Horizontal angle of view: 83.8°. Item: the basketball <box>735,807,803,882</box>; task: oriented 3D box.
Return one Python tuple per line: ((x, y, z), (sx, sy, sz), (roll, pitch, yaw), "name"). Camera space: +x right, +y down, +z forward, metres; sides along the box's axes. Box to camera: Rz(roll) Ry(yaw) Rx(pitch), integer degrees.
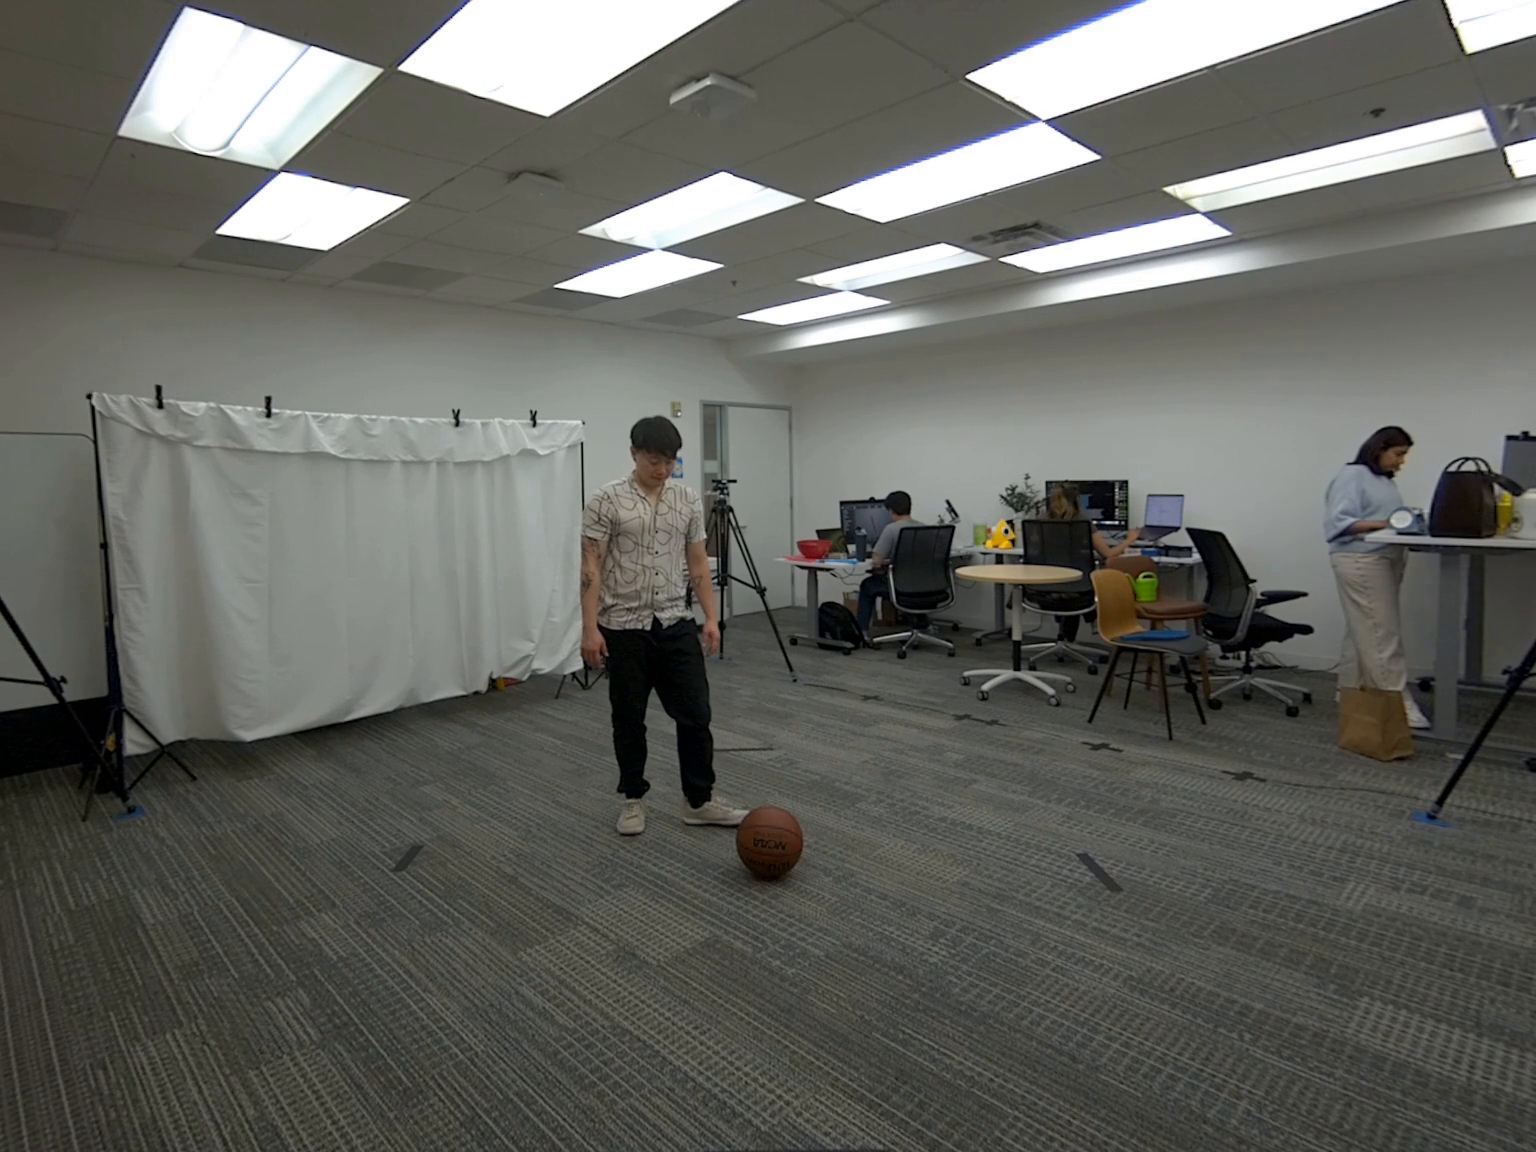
((0.006, 0.932, 3.022), (0.236, 0.235, 0.237), (-1, 5, -2), "basketball")
